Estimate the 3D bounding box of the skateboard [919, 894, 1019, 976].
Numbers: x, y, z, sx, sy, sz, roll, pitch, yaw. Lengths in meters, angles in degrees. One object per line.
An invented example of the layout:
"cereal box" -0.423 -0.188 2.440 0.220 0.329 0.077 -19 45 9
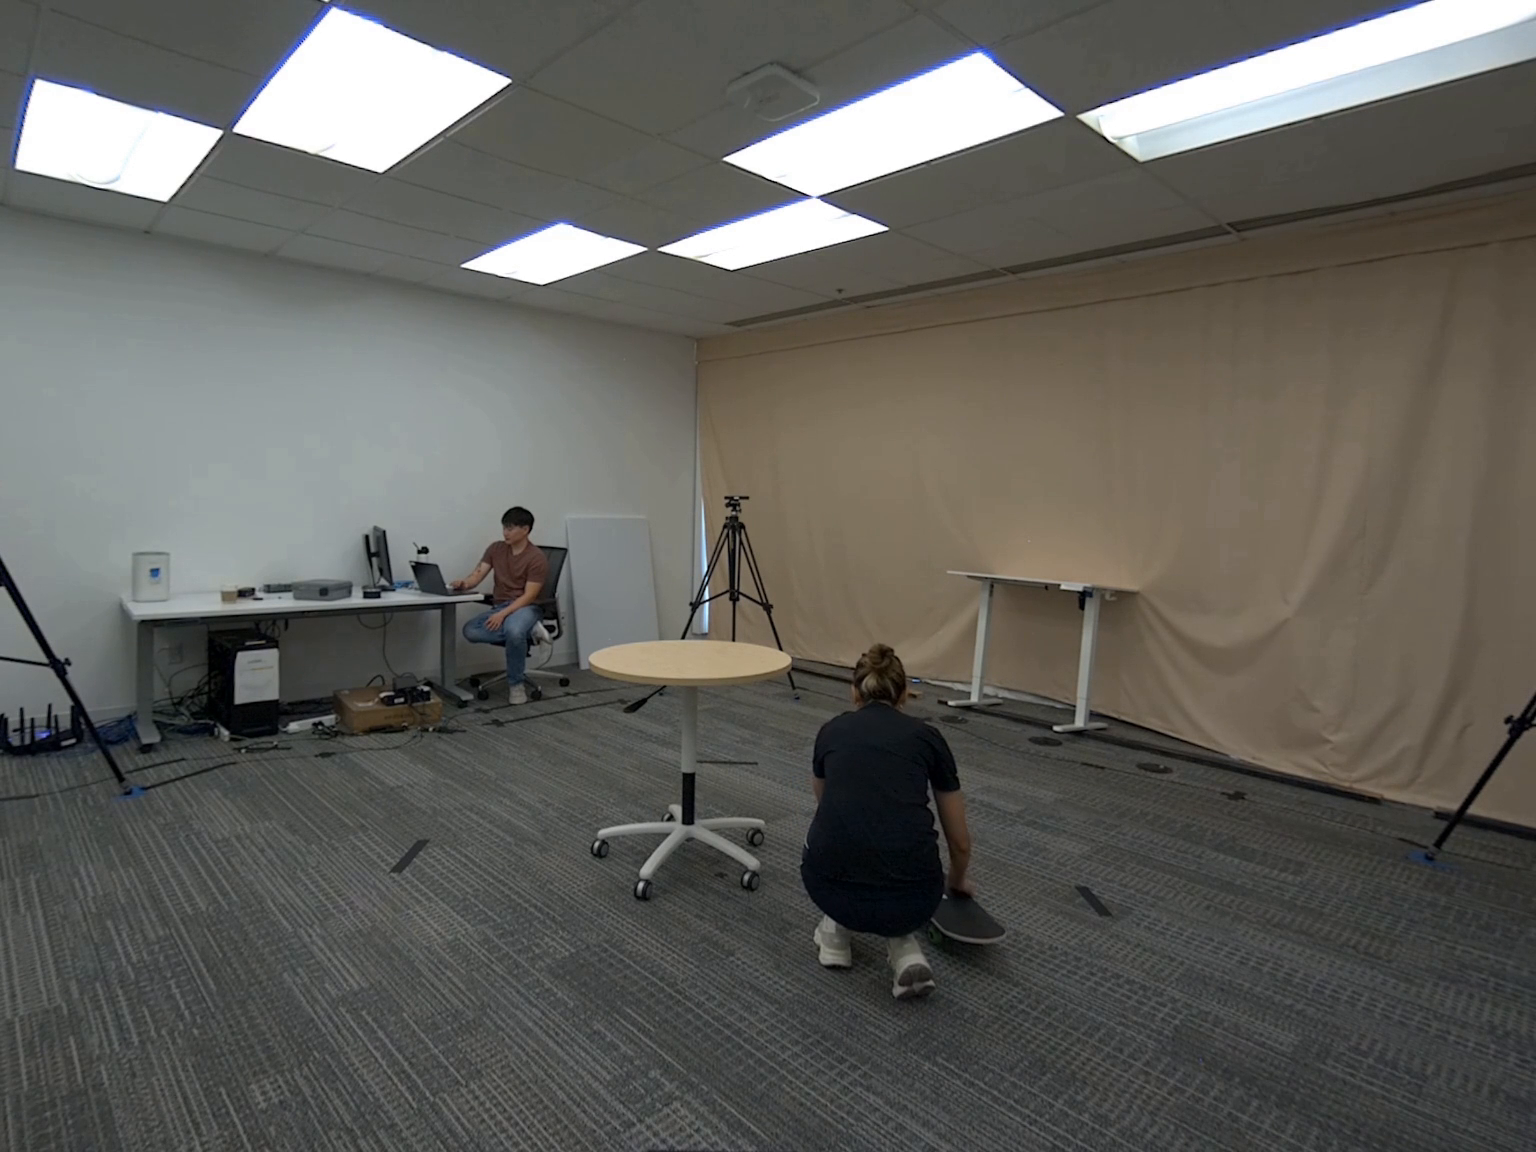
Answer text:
"skateboard" 0.533 1.079 2.880 0.191 0.110 0.798 2 5 -17
